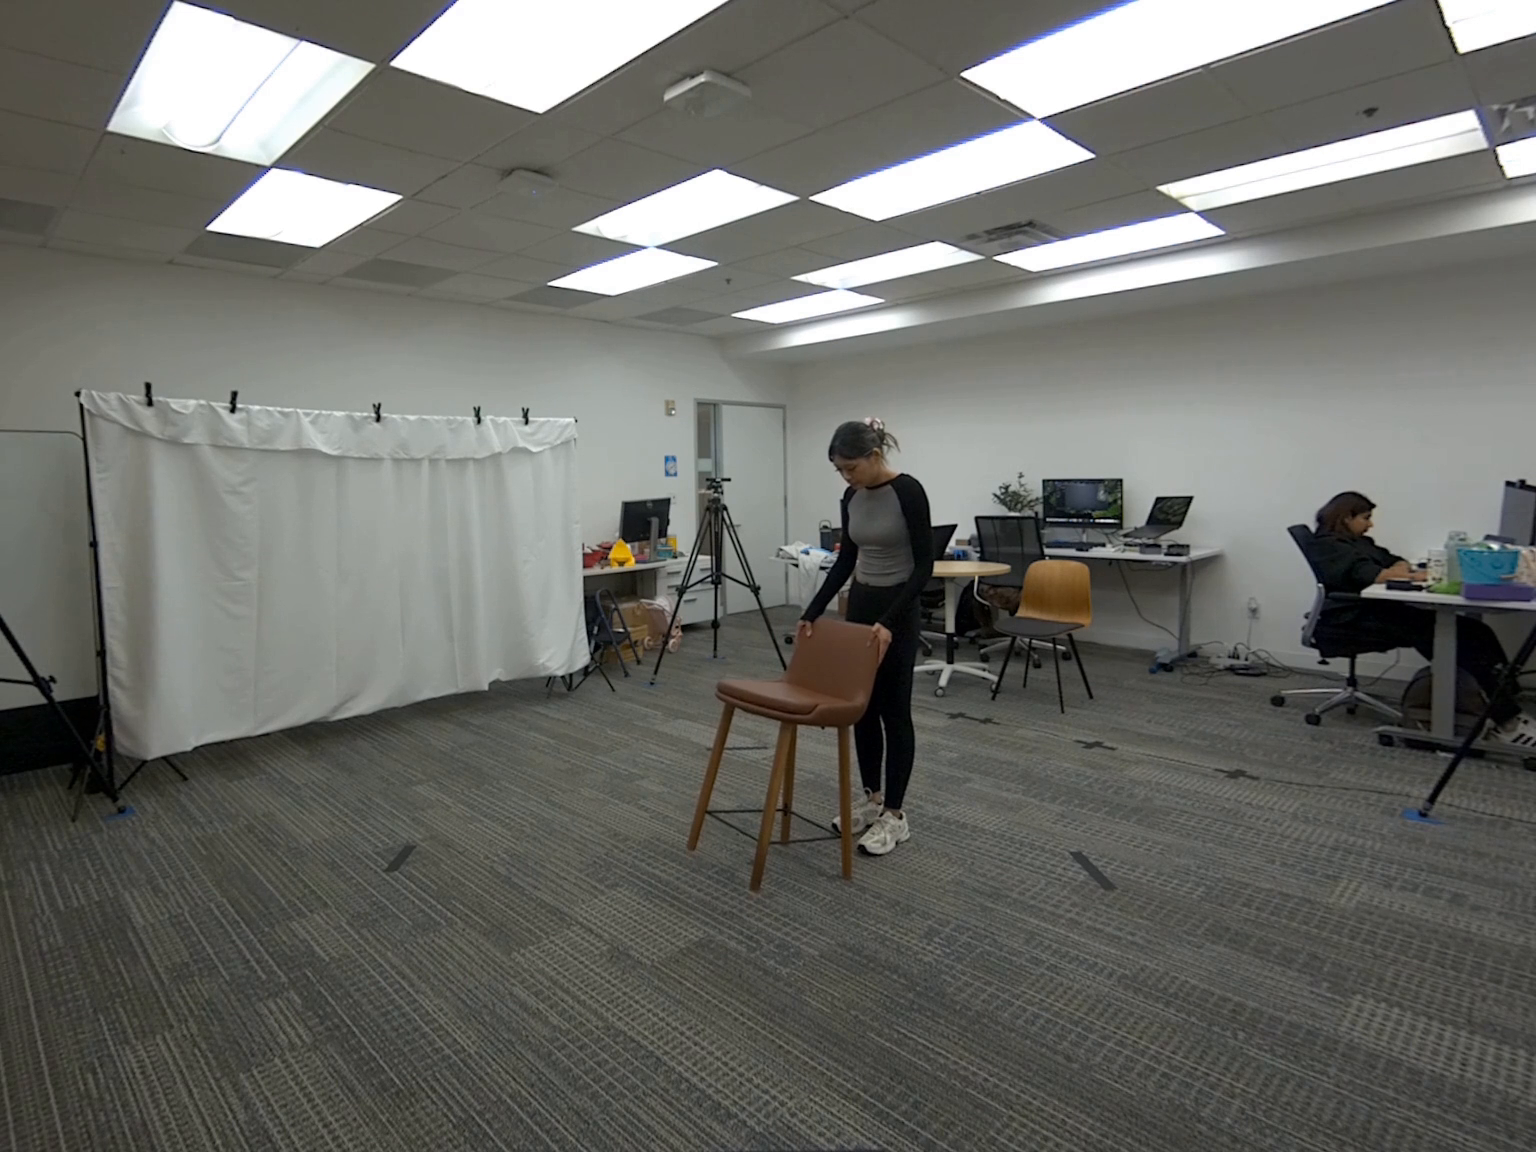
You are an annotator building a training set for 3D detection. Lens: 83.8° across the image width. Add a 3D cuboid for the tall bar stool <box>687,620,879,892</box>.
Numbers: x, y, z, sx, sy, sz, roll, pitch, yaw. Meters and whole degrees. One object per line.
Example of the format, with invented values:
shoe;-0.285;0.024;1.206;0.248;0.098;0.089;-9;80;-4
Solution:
tall bar stool;0.078;0.583;3.021;0.453;0.892;0.470;12;-5;-36
